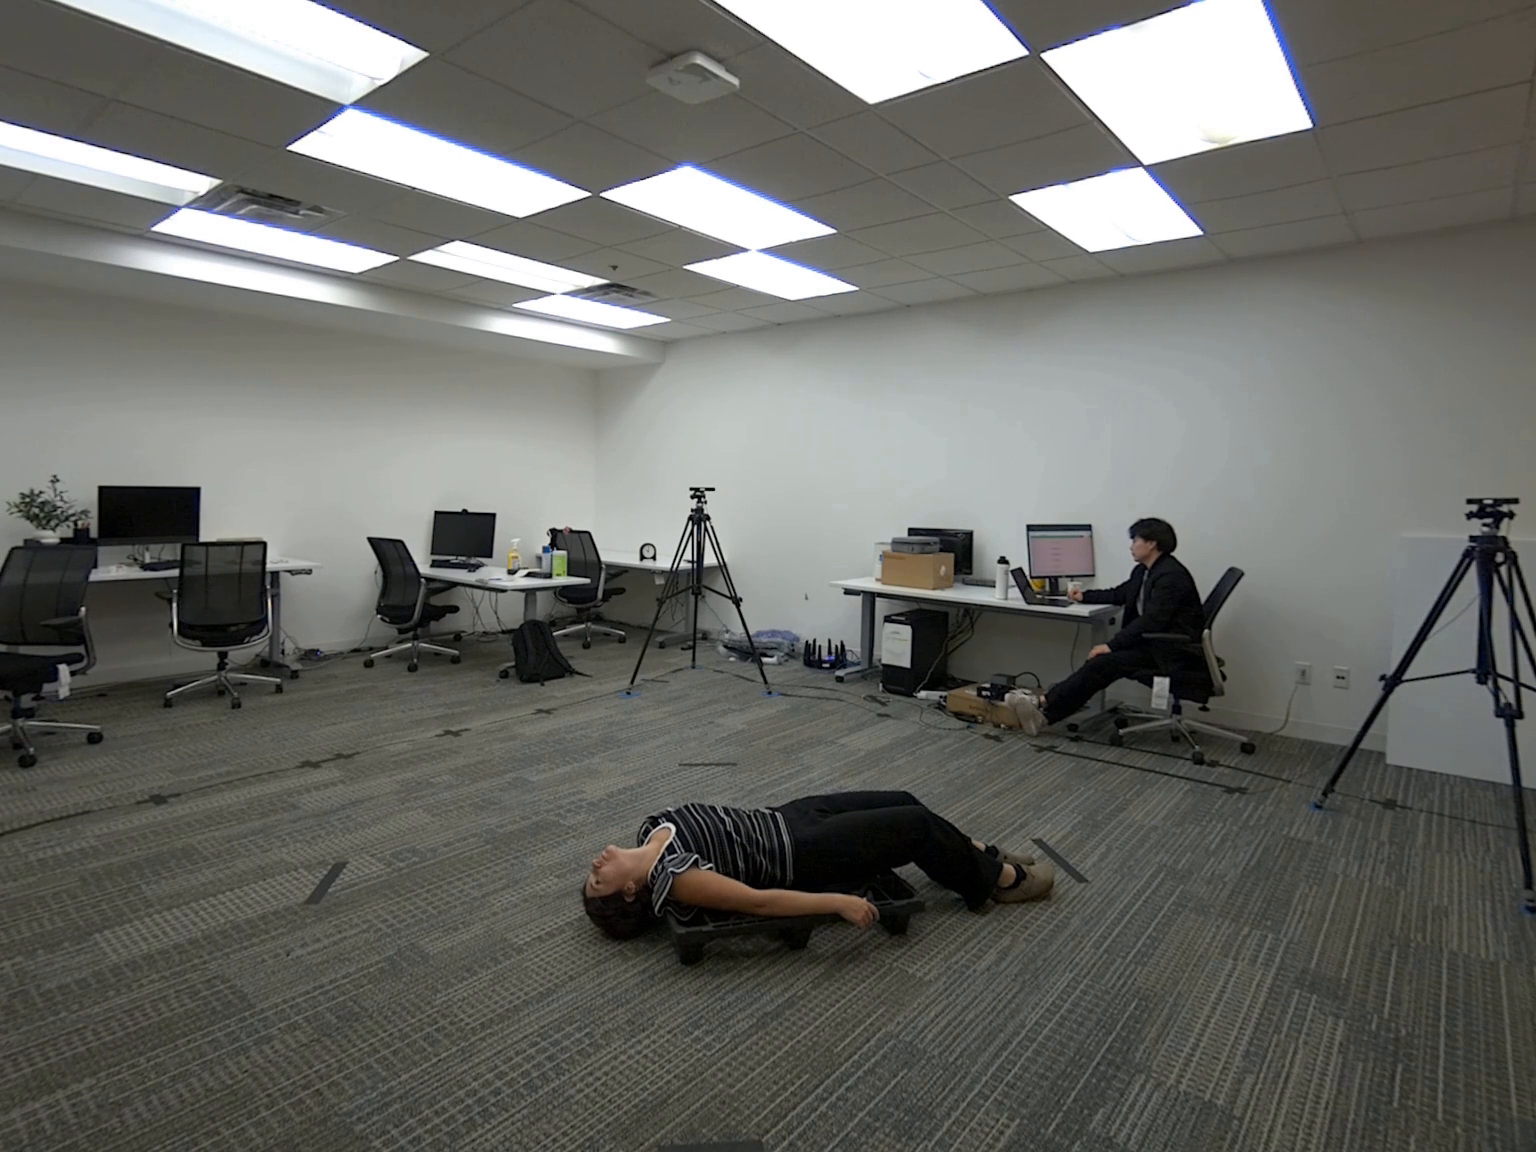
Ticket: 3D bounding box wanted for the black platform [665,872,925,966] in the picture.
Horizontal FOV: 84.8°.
[{"bbox_3d":[0.018,1.038,2.789,0.791,0.143,0.618,0,4,-18],"label":"black platform"}]
